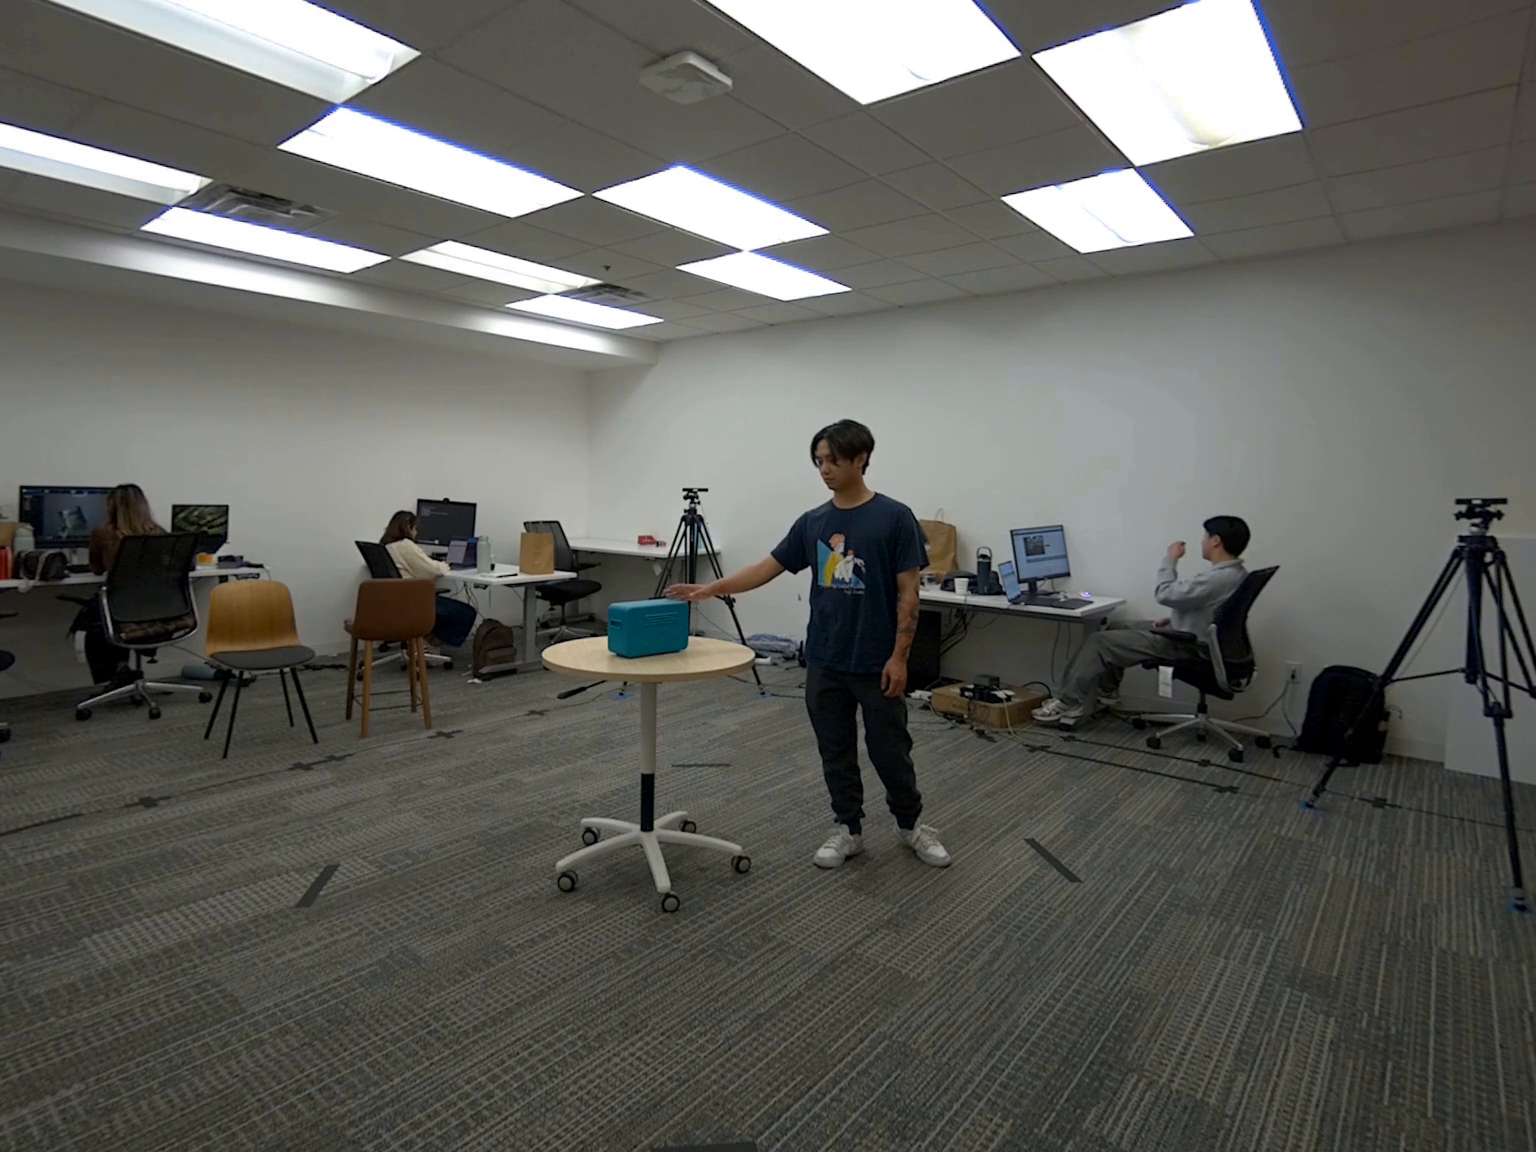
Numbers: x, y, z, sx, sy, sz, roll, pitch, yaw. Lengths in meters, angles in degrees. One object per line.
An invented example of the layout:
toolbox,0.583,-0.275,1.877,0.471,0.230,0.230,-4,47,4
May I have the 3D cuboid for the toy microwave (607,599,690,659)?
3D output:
toy microwave,-0.447,0.182,3.070,0.277,0.183,0.157,-3,5,-42
